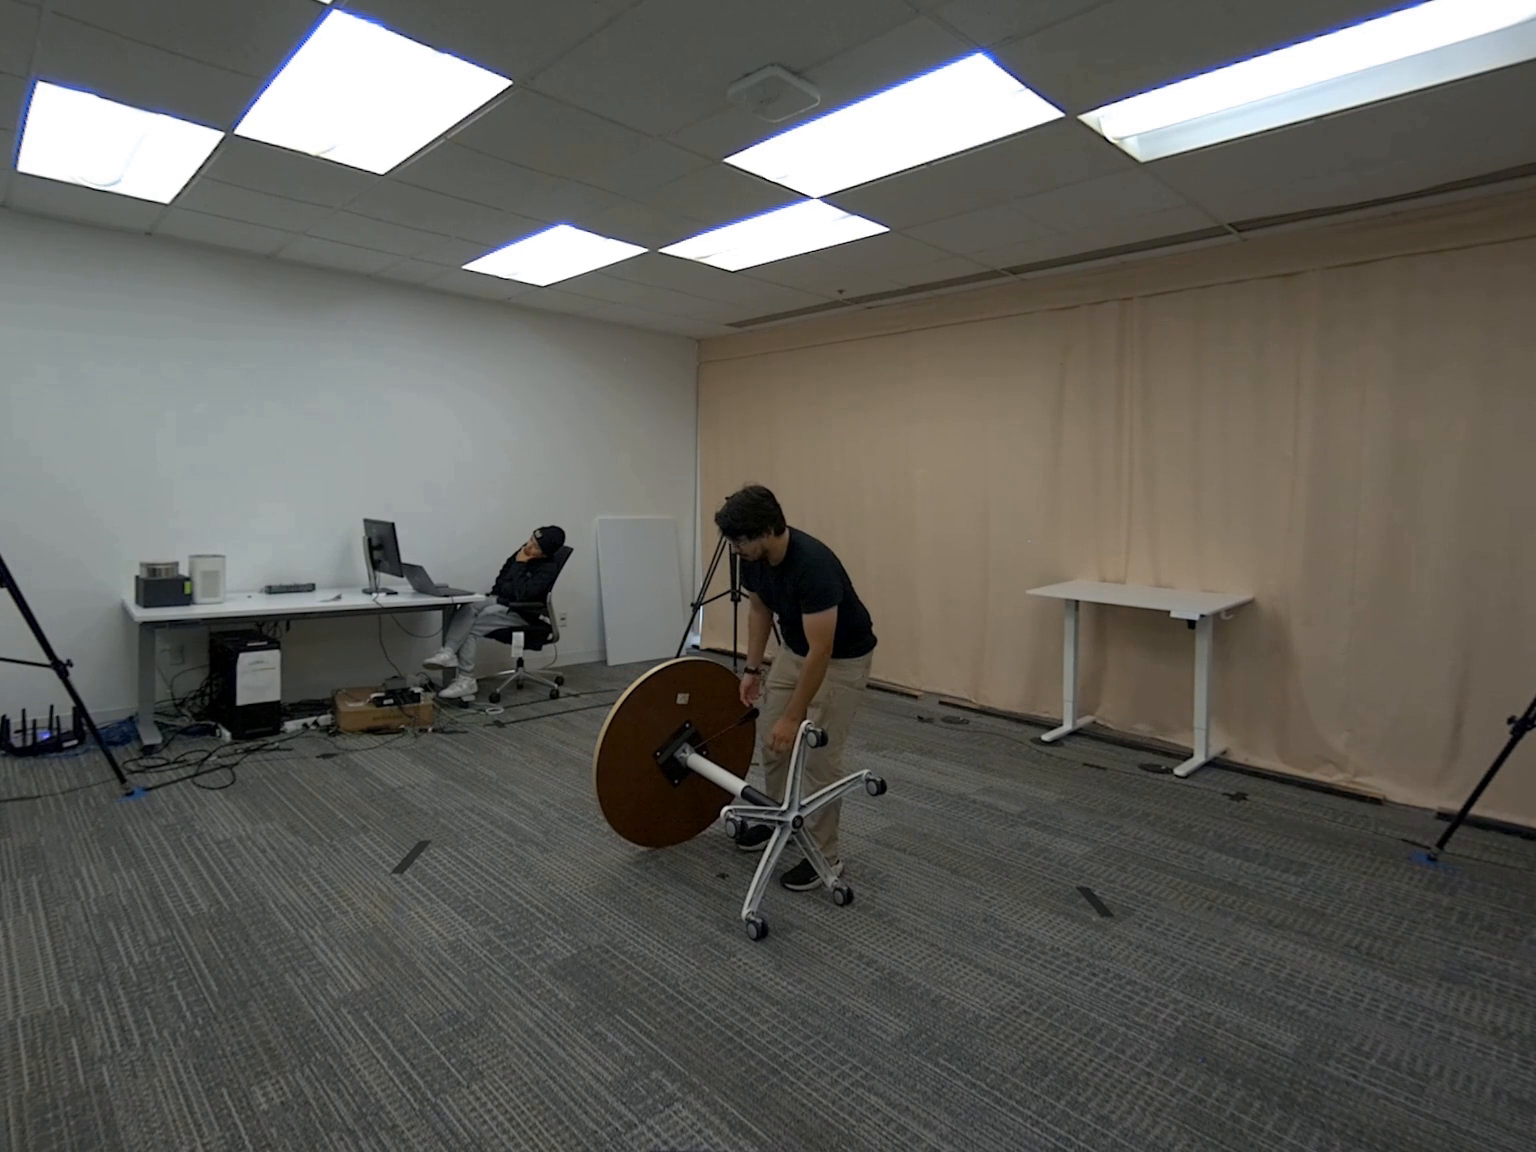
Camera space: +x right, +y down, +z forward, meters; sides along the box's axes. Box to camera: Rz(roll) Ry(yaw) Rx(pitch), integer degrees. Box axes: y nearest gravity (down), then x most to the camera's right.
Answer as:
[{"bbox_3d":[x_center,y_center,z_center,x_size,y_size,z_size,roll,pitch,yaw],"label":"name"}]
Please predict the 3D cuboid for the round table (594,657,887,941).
[{"bbox_3d":[-0.110,0.757,3.032,0.767,0.781,0.808,-2,10,-40],"label":"round table"}]
